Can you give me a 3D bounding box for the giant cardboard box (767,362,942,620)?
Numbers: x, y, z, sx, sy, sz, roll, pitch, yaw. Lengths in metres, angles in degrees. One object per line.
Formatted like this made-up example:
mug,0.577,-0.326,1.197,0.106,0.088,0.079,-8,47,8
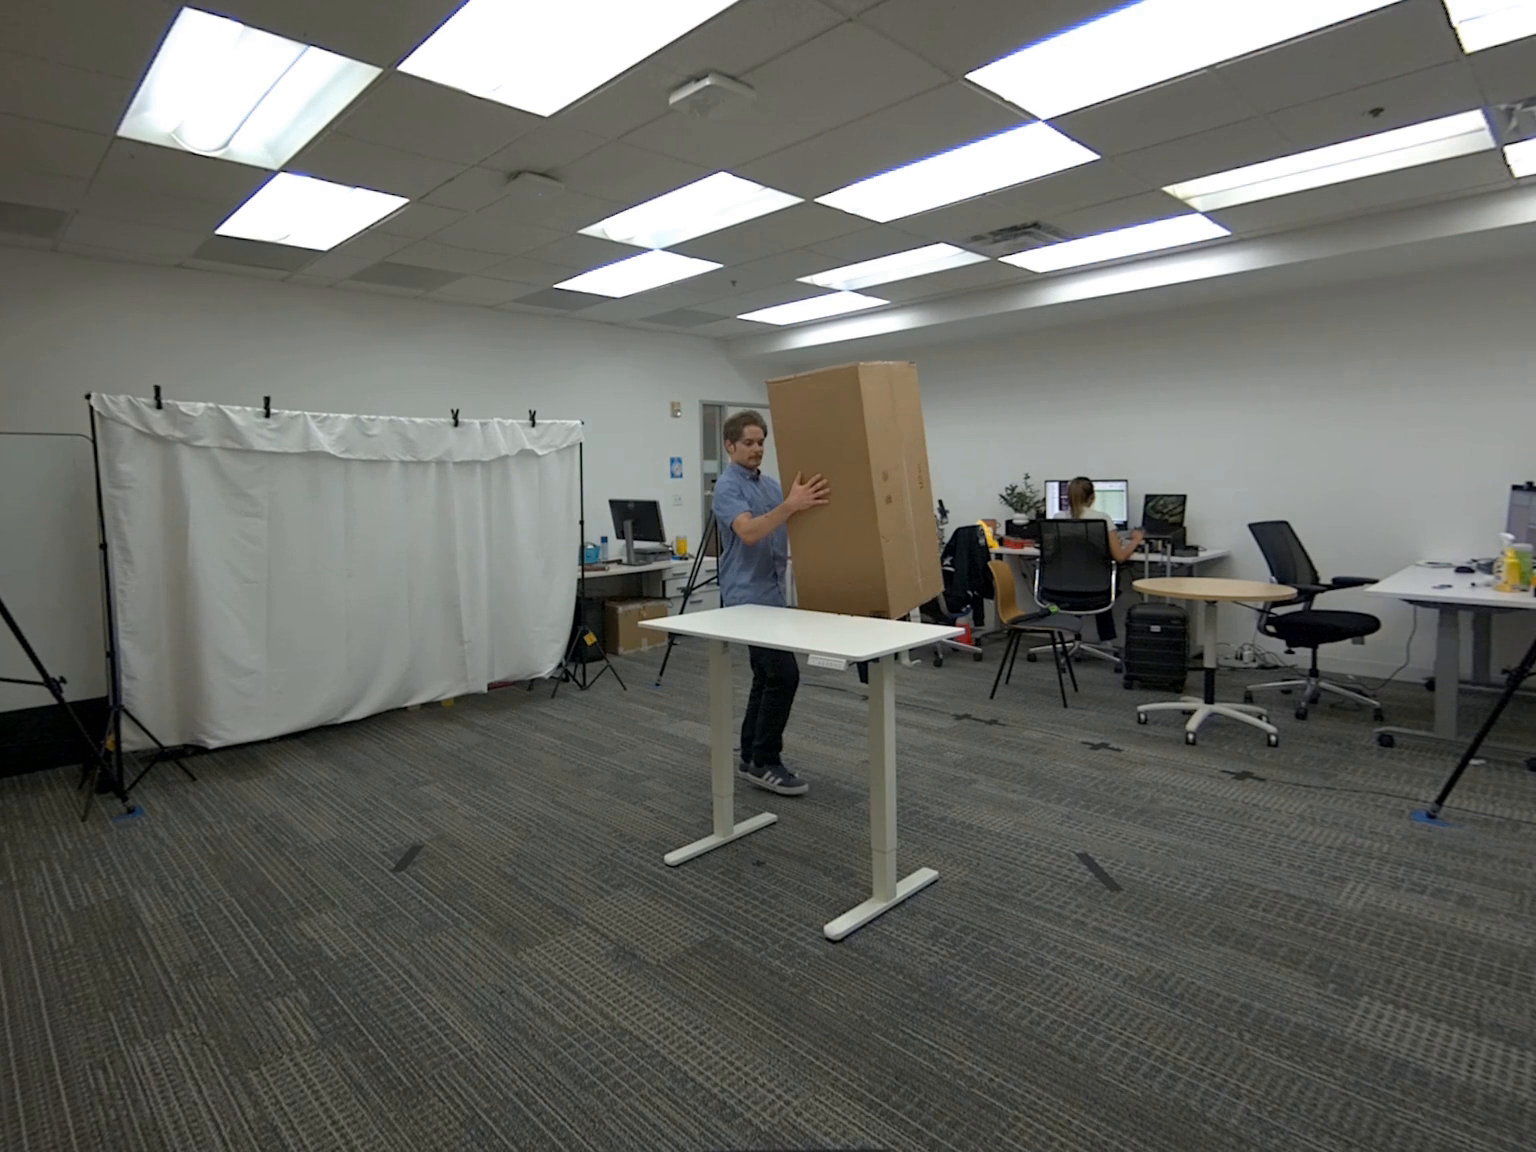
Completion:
giant cardboard box,0.386,-0.369,3.647,0.437,1.019,0.566,-4,8,36
